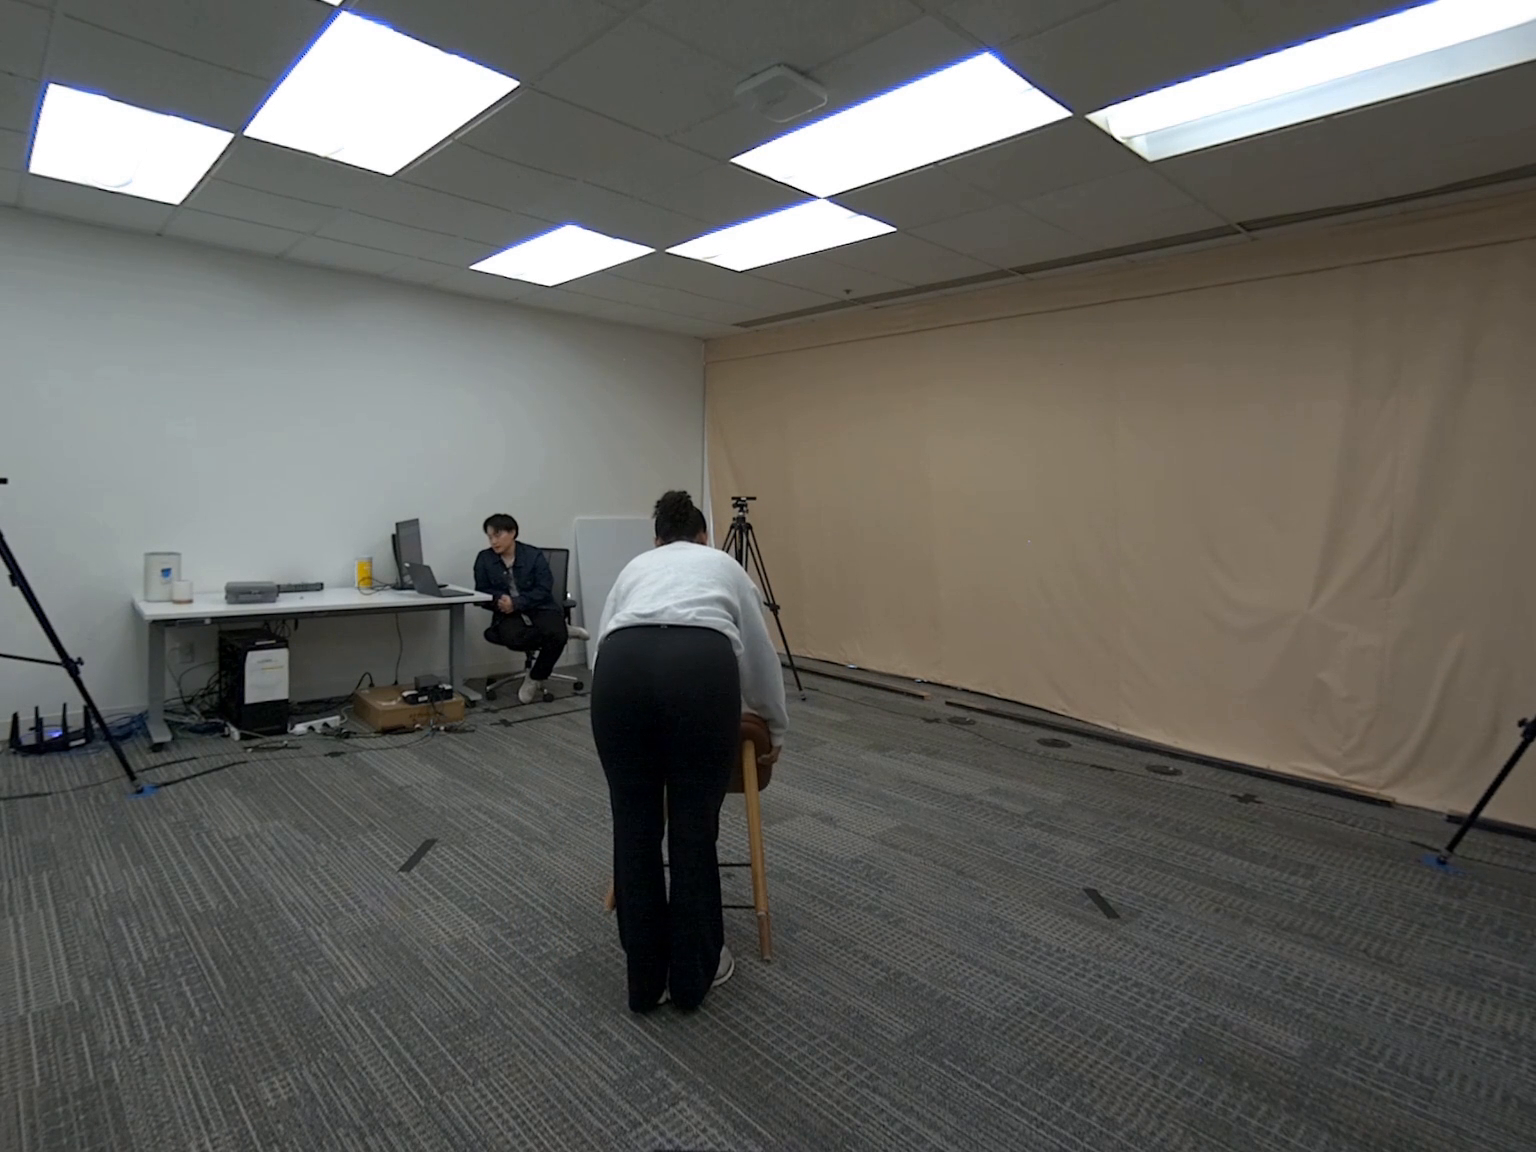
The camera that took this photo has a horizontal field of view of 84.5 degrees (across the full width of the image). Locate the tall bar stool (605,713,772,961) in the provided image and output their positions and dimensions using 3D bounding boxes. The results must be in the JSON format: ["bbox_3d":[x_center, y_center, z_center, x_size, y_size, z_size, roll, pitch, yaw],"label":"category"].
[{"bbox_3d":[-0.224,0.707,2.708,0.469,0.909,0.445,-3,-42,3],"label":"tall bar stool"}]
